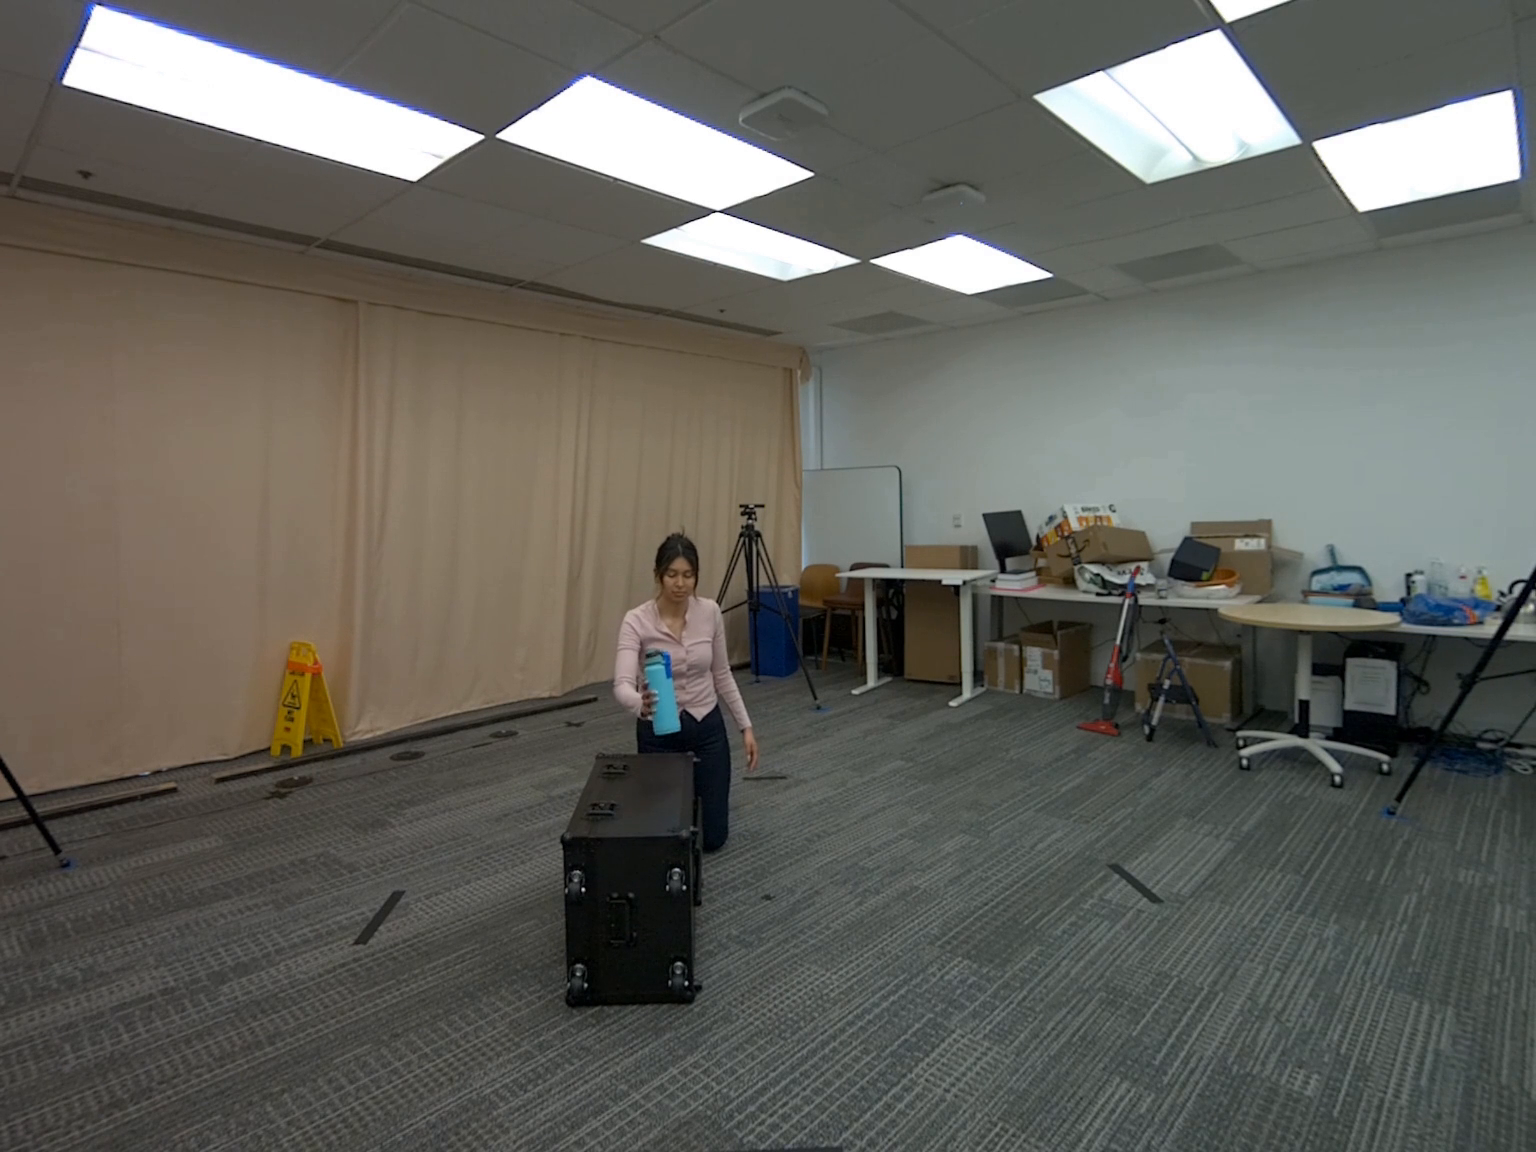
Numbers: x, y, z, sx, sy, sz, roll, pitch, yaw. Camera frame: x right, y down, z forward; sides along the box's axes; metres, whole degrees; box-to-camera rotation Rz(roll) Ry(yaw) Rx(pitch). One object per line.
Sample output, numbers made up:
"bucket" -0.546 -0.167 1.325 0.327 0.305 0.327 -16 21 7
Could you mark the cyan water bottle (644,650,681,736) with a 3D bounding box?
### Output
"cyan water bottle" -0.355 0.386 2.820 0.092 0.285 0.092 -11 -5 -3
